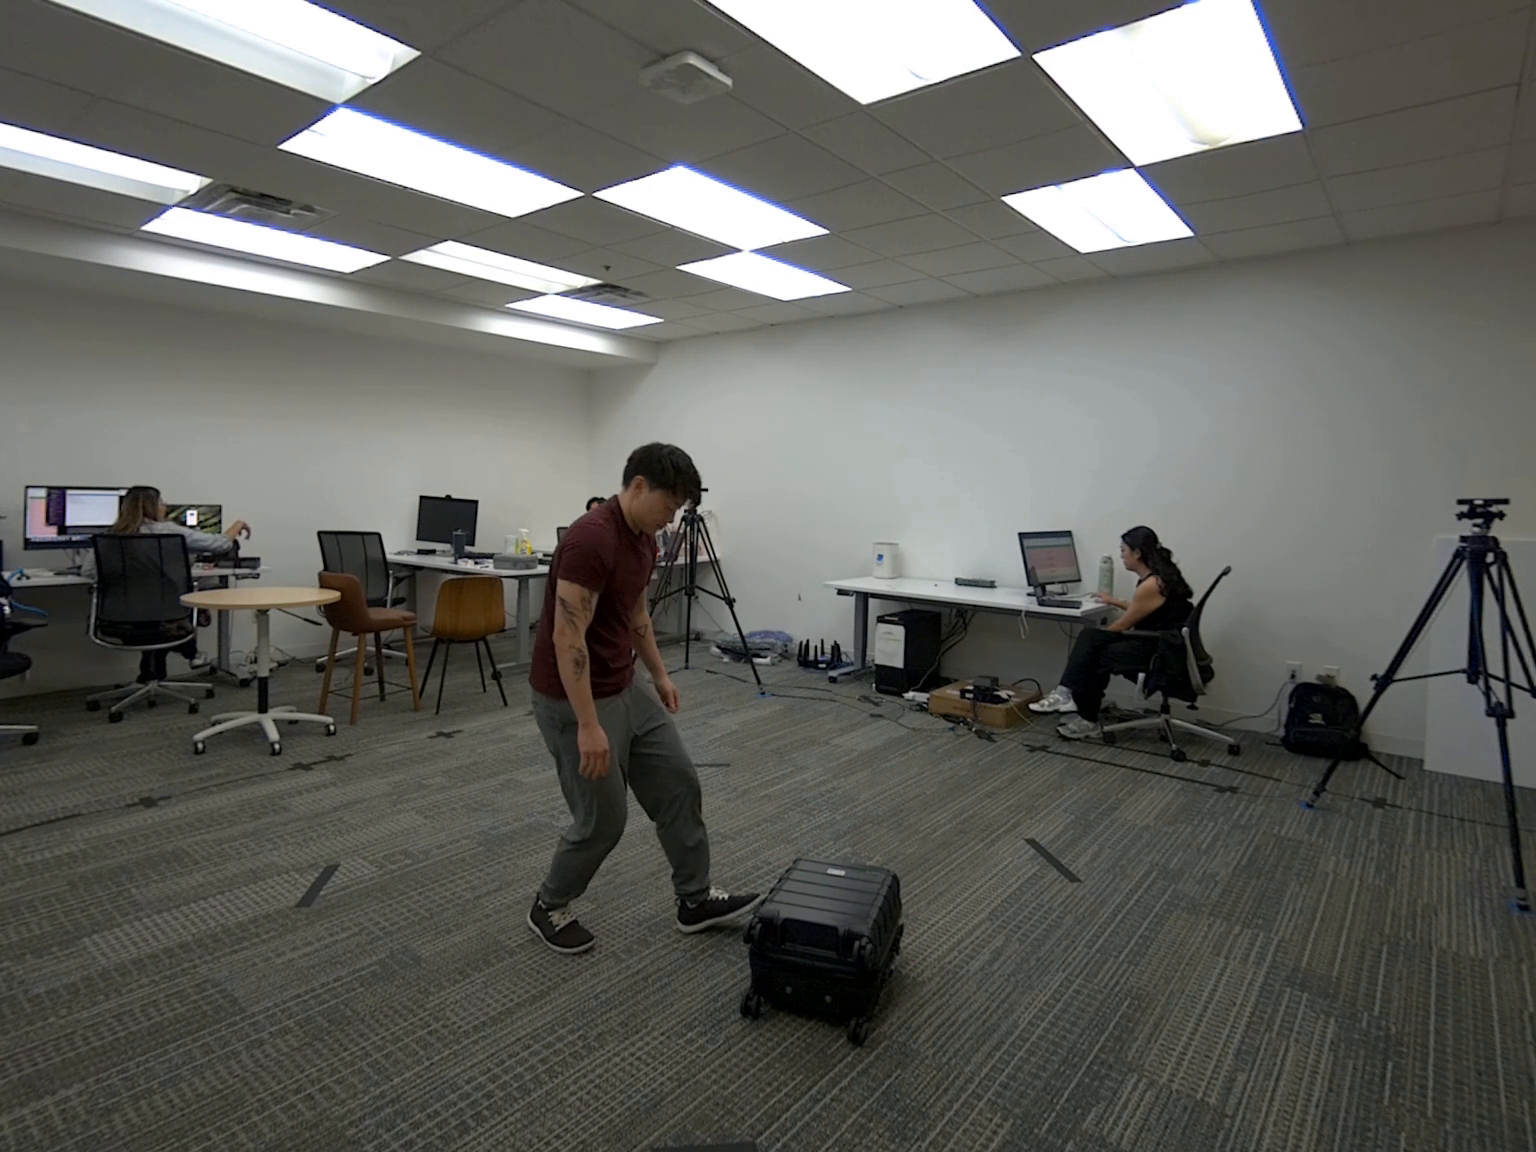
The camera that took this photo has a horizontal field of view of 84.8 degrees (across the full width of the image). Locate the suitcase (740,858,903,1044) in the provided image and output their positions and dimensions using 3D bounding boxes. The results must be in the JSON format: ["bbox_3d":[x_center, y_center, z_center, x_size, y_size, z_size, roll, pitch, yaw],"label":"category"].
[{"bbox_3d":[0.227,1.000,2.623,0.391,0.256,0.962,1,5,17],"label":"suitcase"}]
